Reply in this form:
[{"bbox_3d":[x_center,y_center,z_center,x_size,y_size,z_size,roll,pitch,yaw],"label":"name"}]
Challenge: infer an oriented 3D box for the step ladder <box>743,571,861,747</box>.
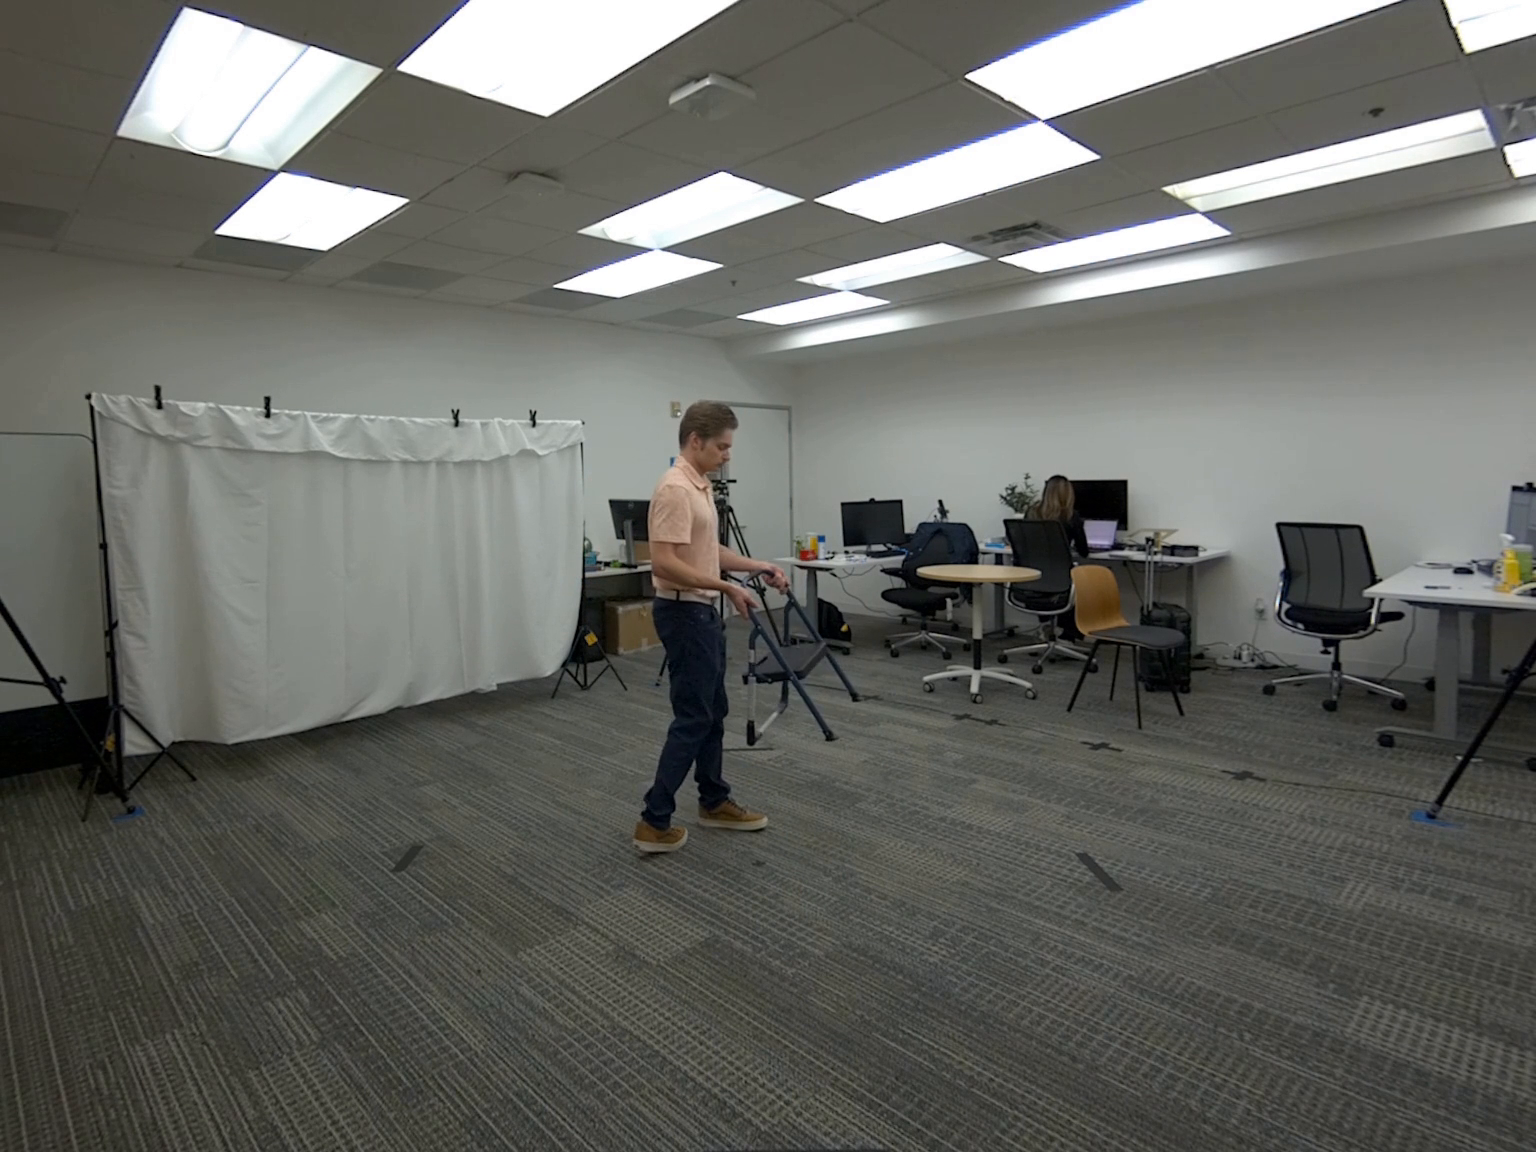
[{"bbox_3d":[0.064,0.270,3.251,0.355,0.603,0.426,-12,6,22],"label":"step ladder"}]
